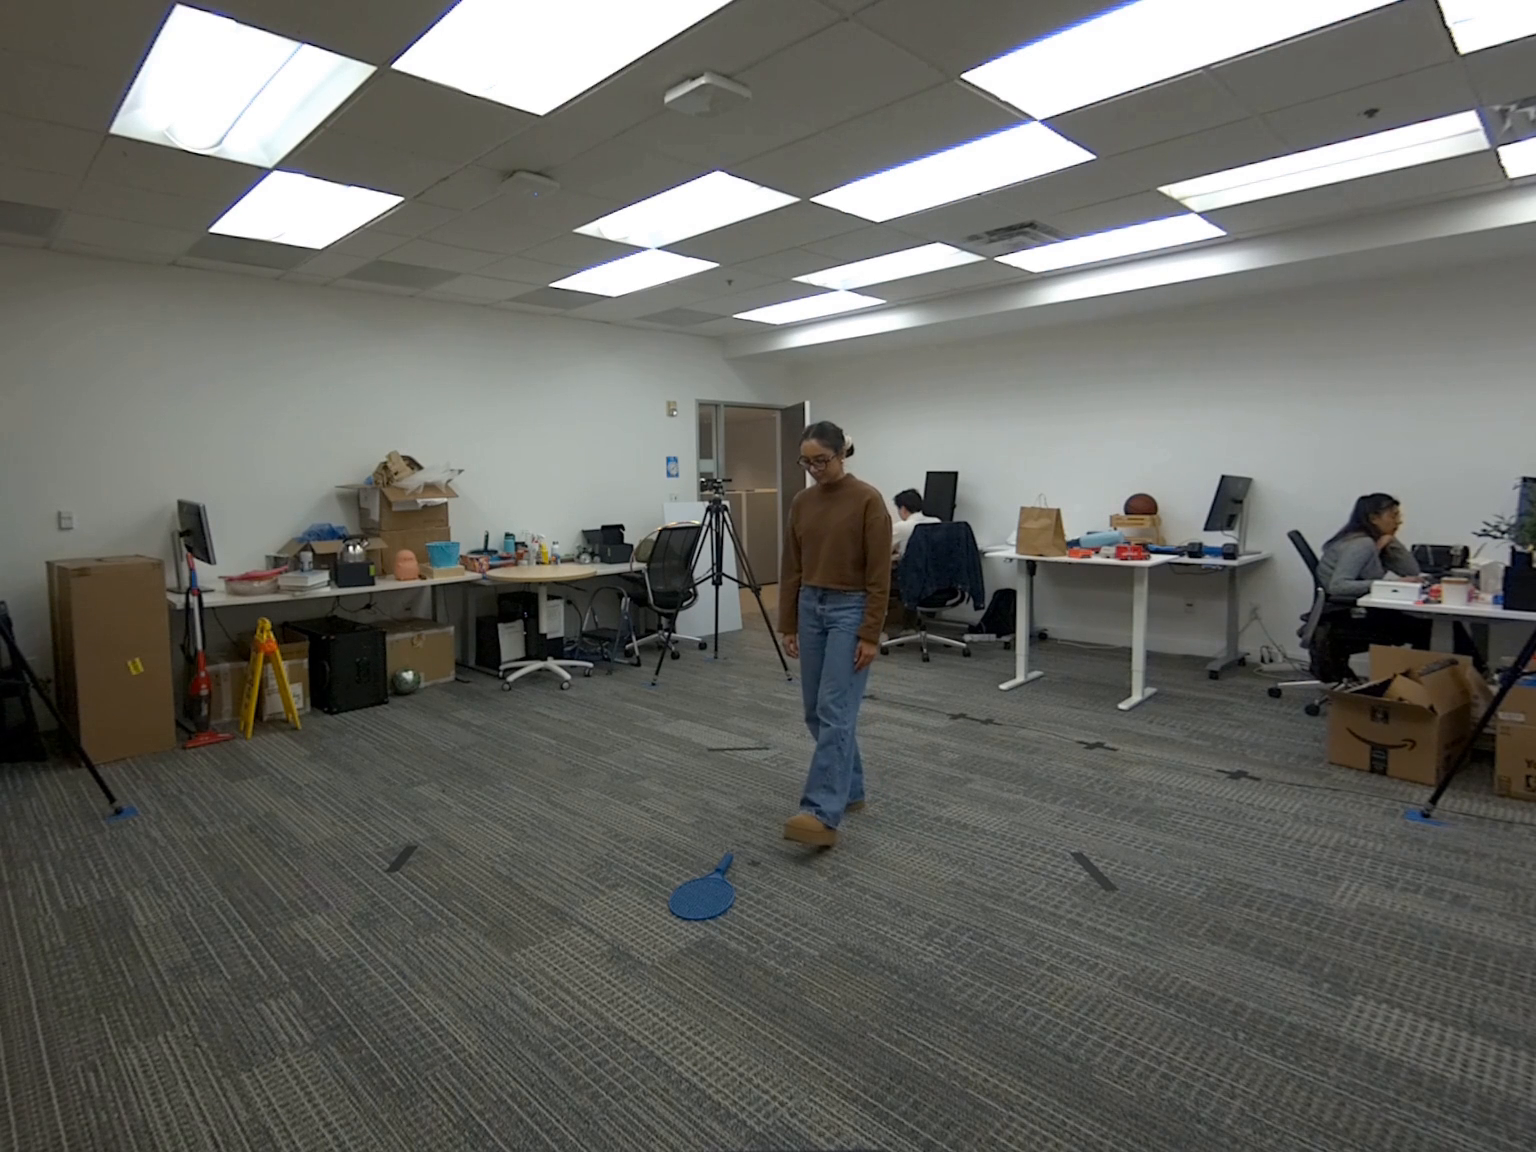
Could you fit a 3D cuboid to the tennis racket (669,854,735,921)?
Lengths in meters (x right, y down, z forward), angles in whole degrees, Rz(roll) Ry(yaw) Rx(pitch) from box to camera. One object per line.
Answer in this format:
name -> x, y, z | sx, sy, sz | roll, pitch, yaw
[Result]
tennis racket -> -0.193, 1.054, 2.915 | 0.217, 0.031, 0.428 | 1, 8, 16
